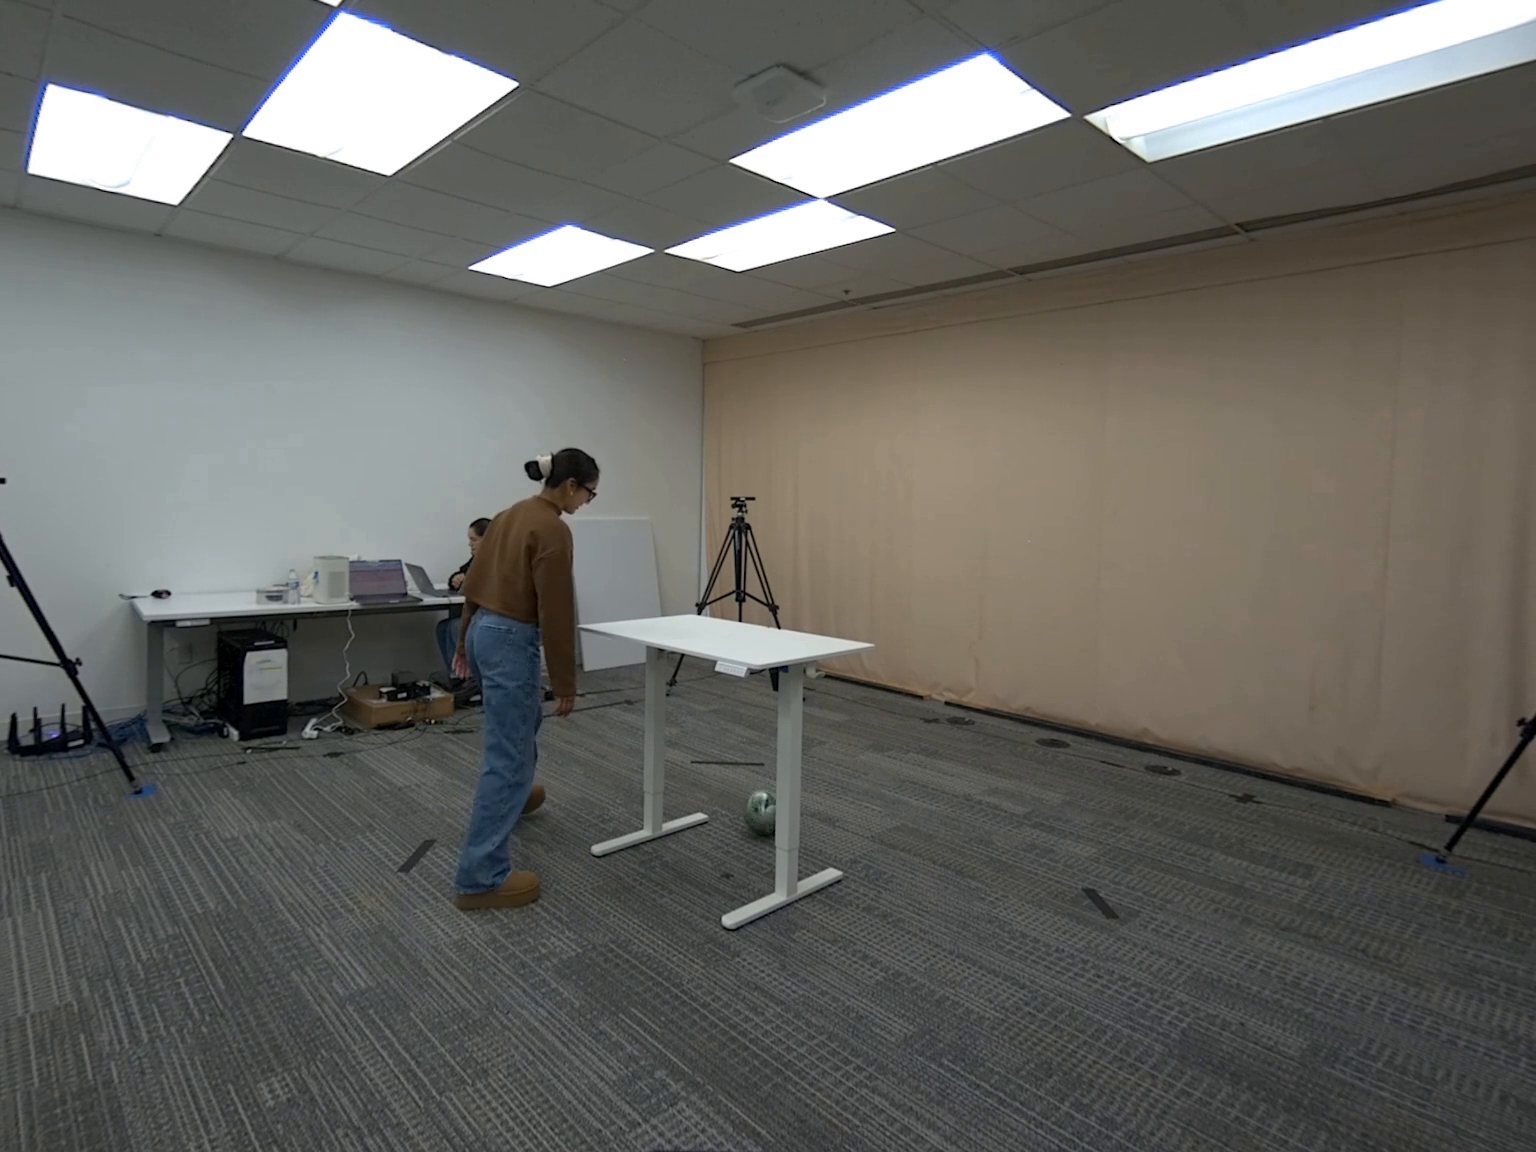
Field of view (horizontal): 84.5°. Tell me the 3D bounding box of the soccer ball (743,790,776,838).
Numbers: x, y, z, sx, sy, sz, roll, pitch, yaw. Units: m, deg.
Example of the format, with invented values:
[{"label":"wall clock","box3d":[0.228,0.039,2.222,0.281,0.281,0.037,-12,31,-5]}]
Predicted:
[{"label":"soccer ball","box3d":[-0.021,0.980,3.503,0.187,0.187,0.188,1,4,-1]}]
